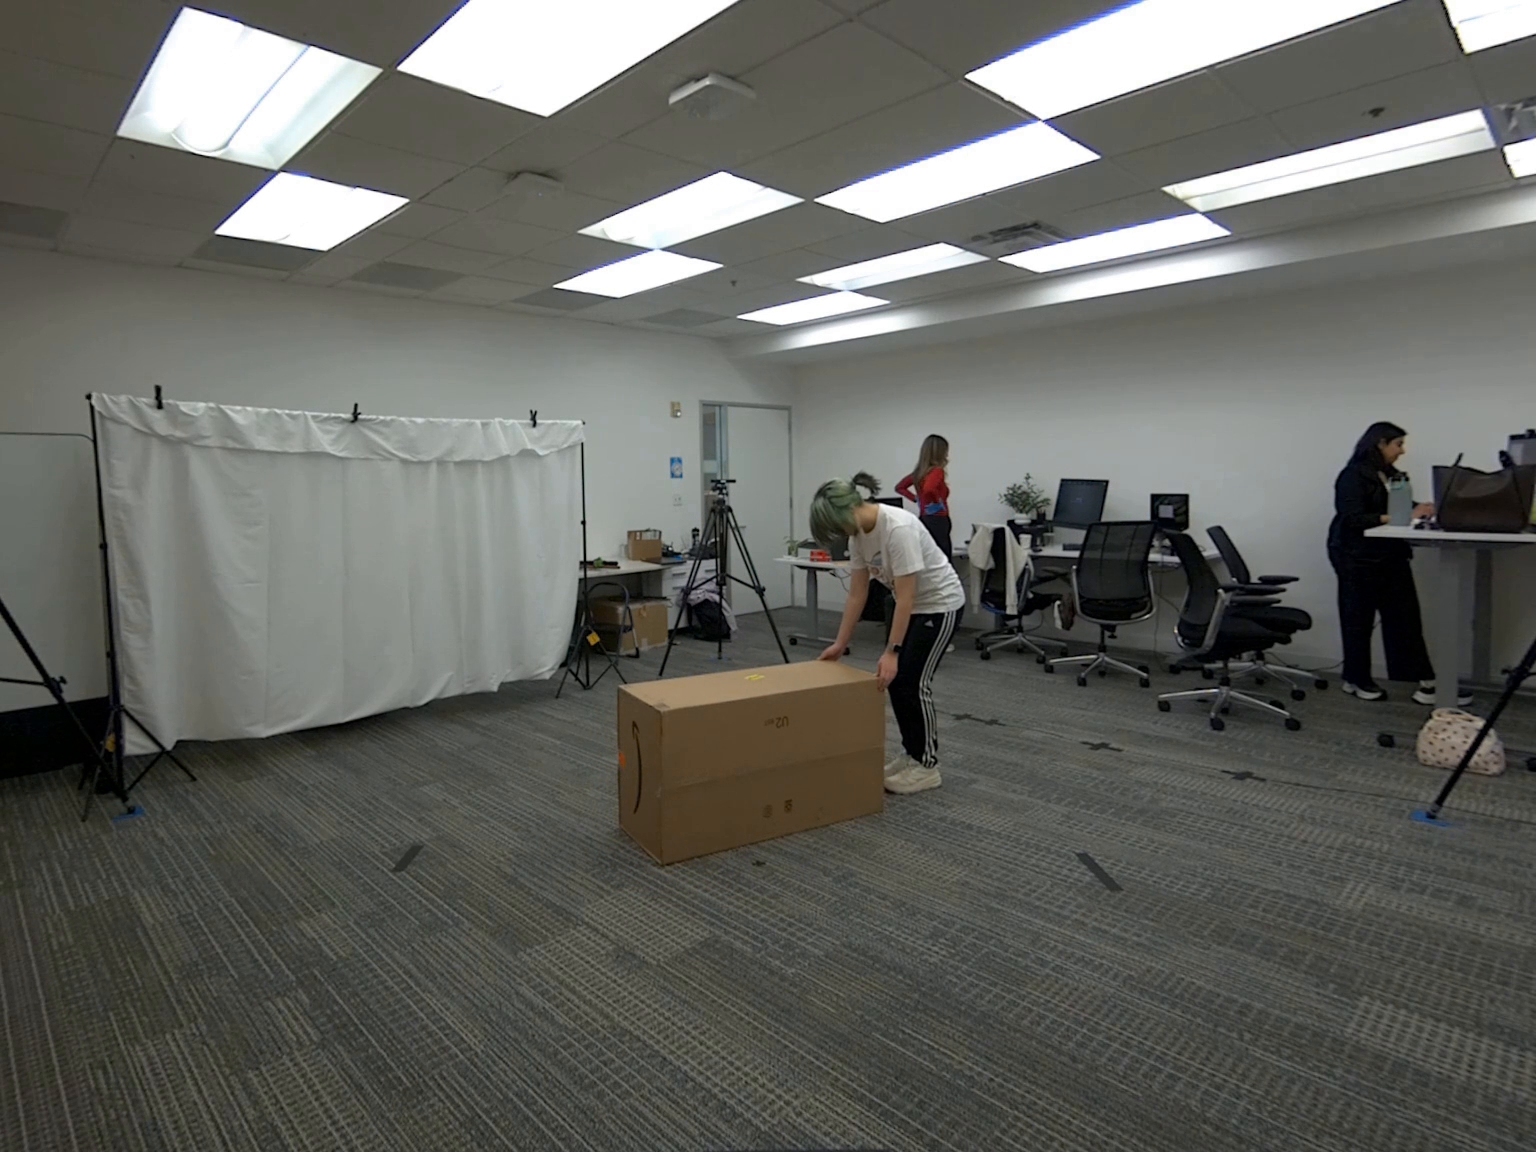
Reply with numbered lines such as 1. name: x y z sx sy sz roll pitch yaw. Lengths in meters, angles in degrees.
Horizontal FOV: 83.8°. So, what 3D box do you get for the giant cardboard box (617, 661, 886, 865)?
1. giant cardboard box: -0.061 0.715 3.502 1.003 0.582 0.459 -3 4 -30
